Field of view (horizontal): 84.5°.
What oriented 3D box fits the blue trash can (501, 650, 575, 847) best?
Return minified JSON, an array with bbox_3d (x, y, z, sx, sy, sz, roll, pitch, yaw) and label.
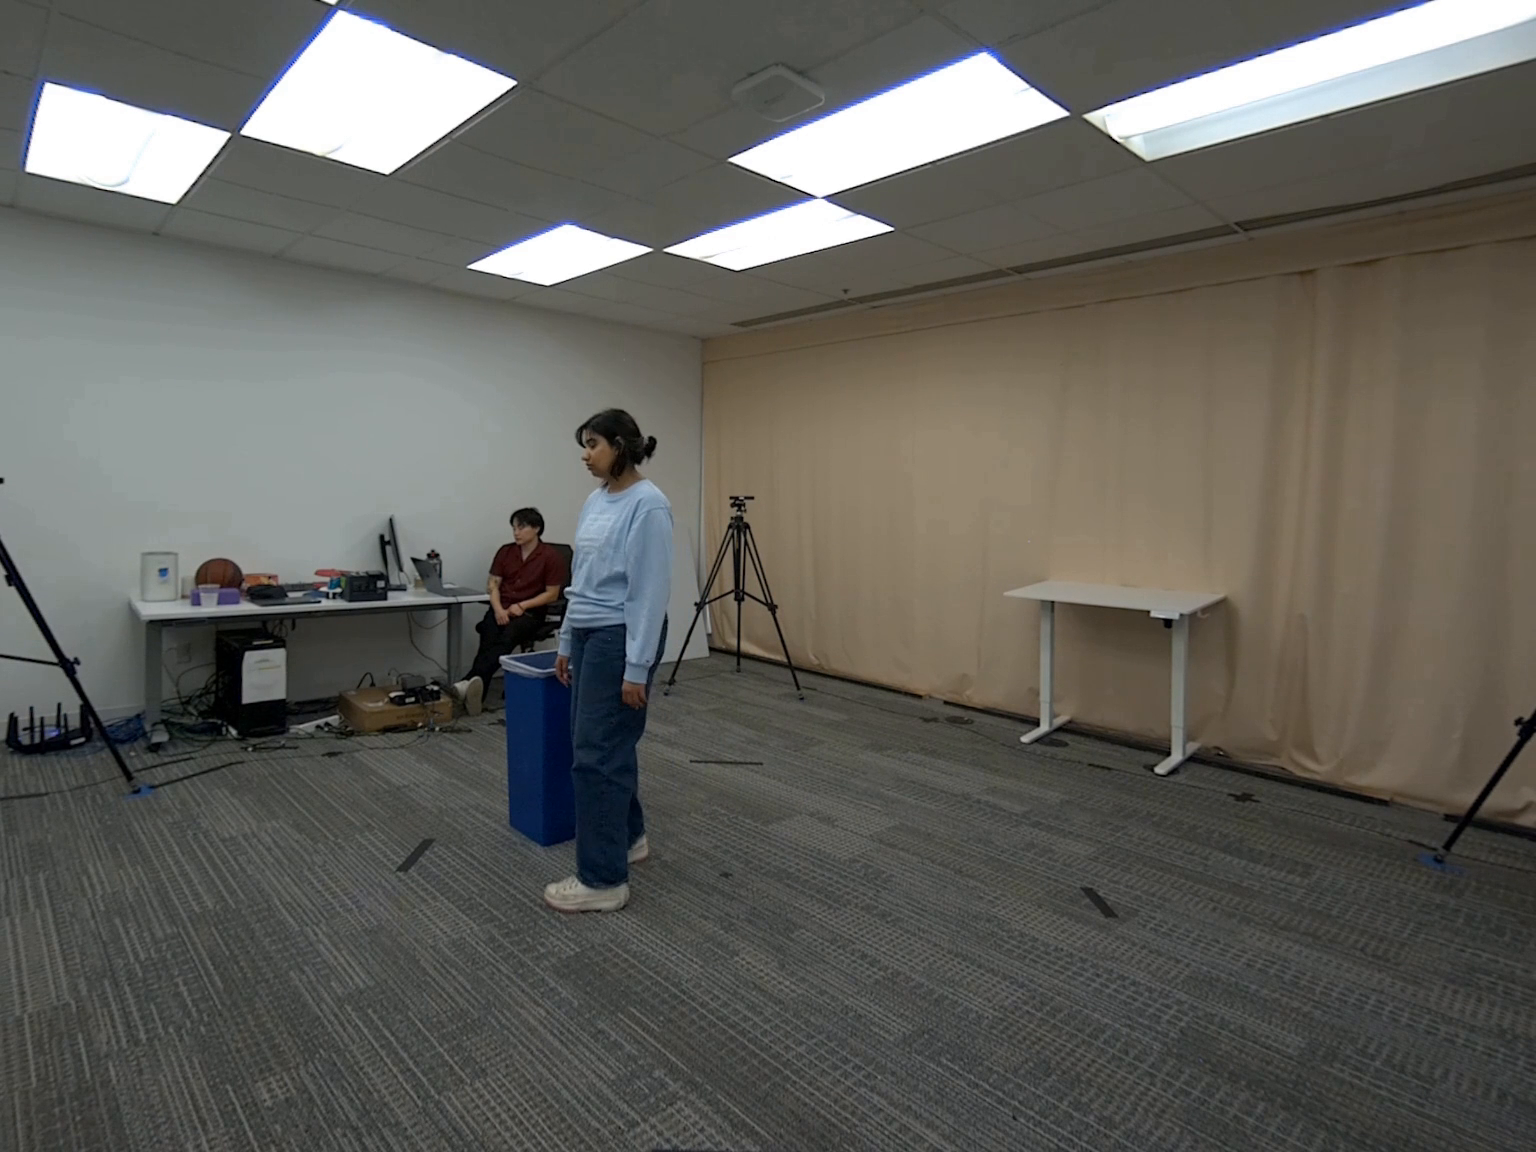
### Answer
[{"bbox_3d":[-0.884,0.695,3.499,0.365,0.712,0.388,-2,4,-44],"label":"blue trash can"}]
